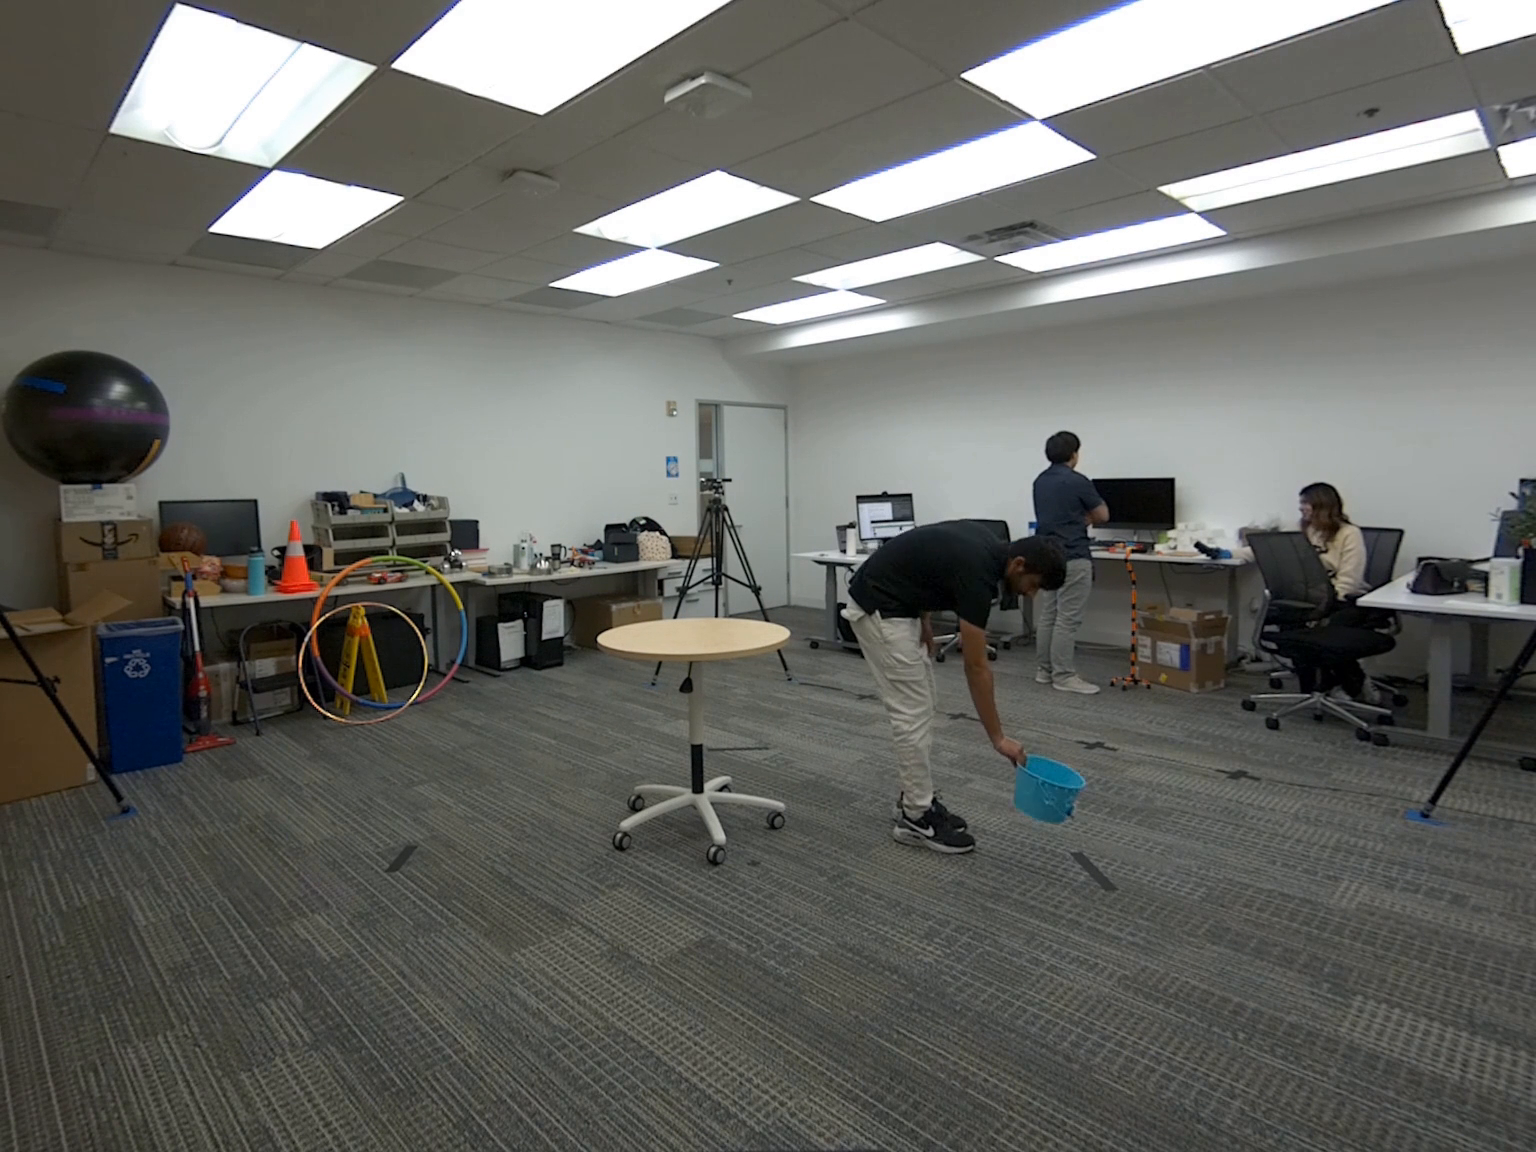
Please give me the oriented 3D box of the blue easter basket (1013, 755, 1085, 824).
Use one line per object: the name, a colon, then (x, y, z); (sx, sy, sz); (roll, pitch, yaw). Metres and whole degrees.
blue easter basket: (0.992, 0.752, 3.008); (0.243, 0.155, 0.246); (9, 10, -3)
